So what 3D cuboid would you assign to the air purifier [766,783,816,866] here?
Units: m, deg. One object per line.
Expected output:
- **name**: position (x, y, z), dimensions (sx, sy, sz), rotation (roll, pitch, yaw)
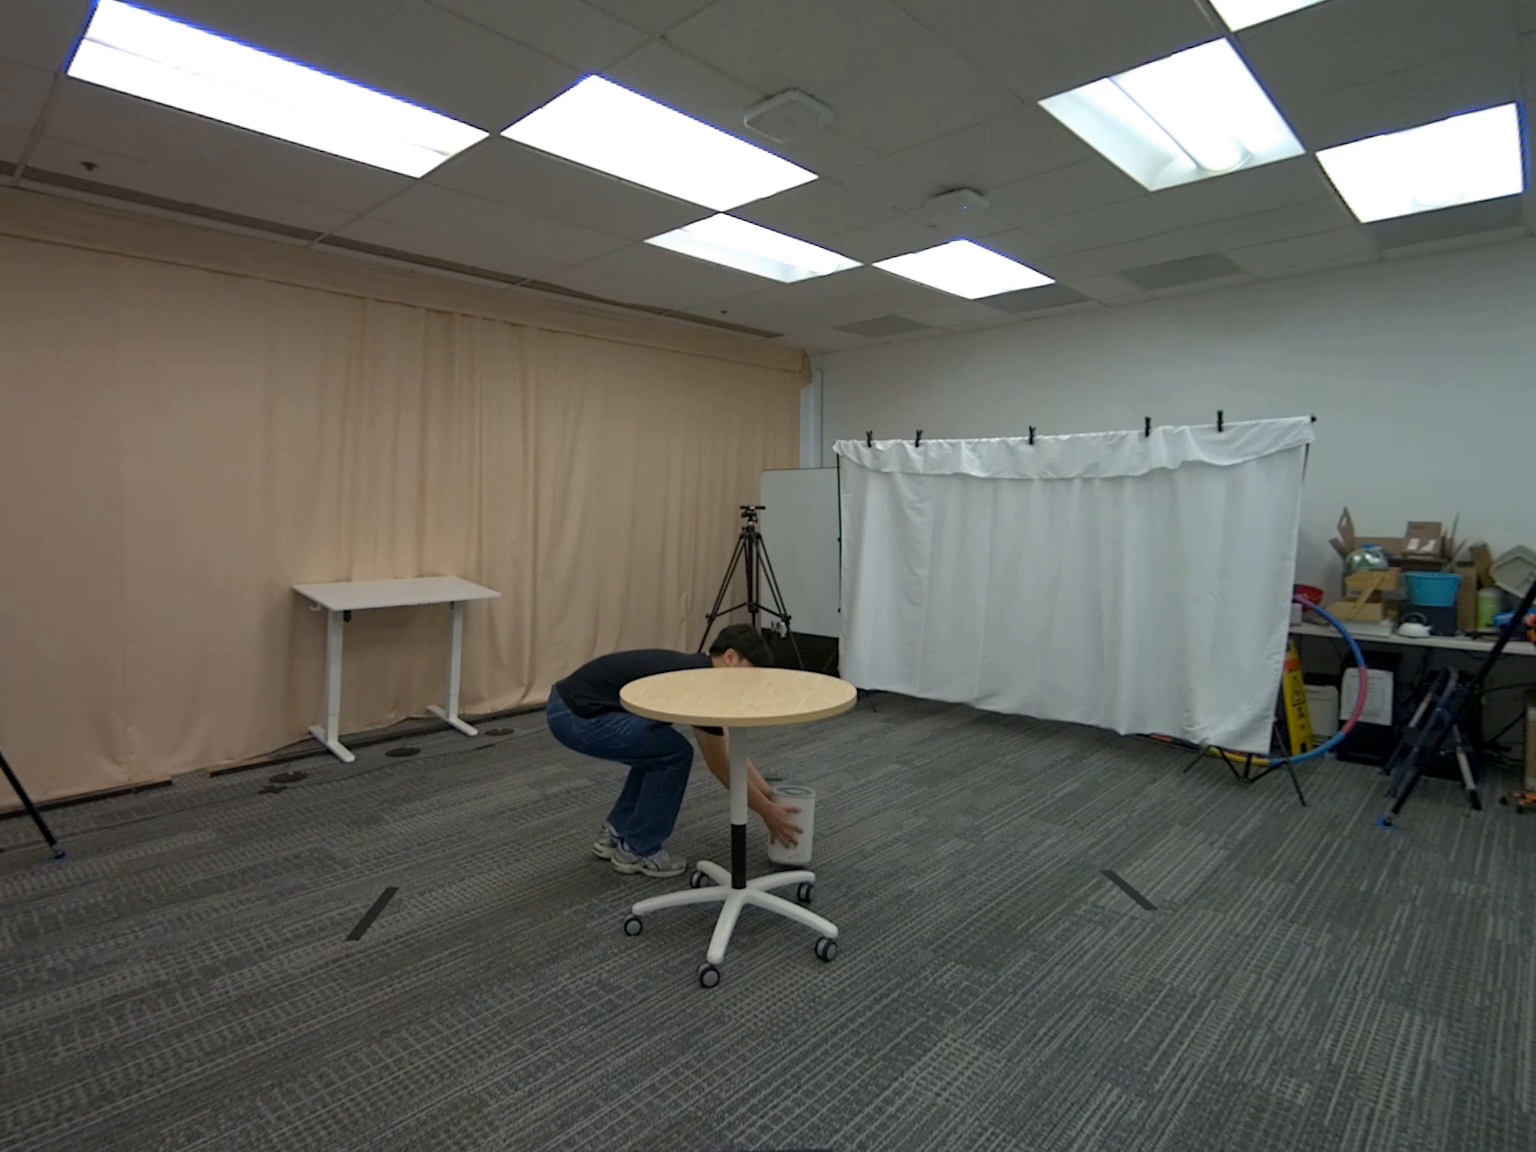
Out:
- **air purifier**: position (0.092, 0.967, 3.264), dimensions (0.171, 0.266, 0.171), rotation (4, -3, 1)
